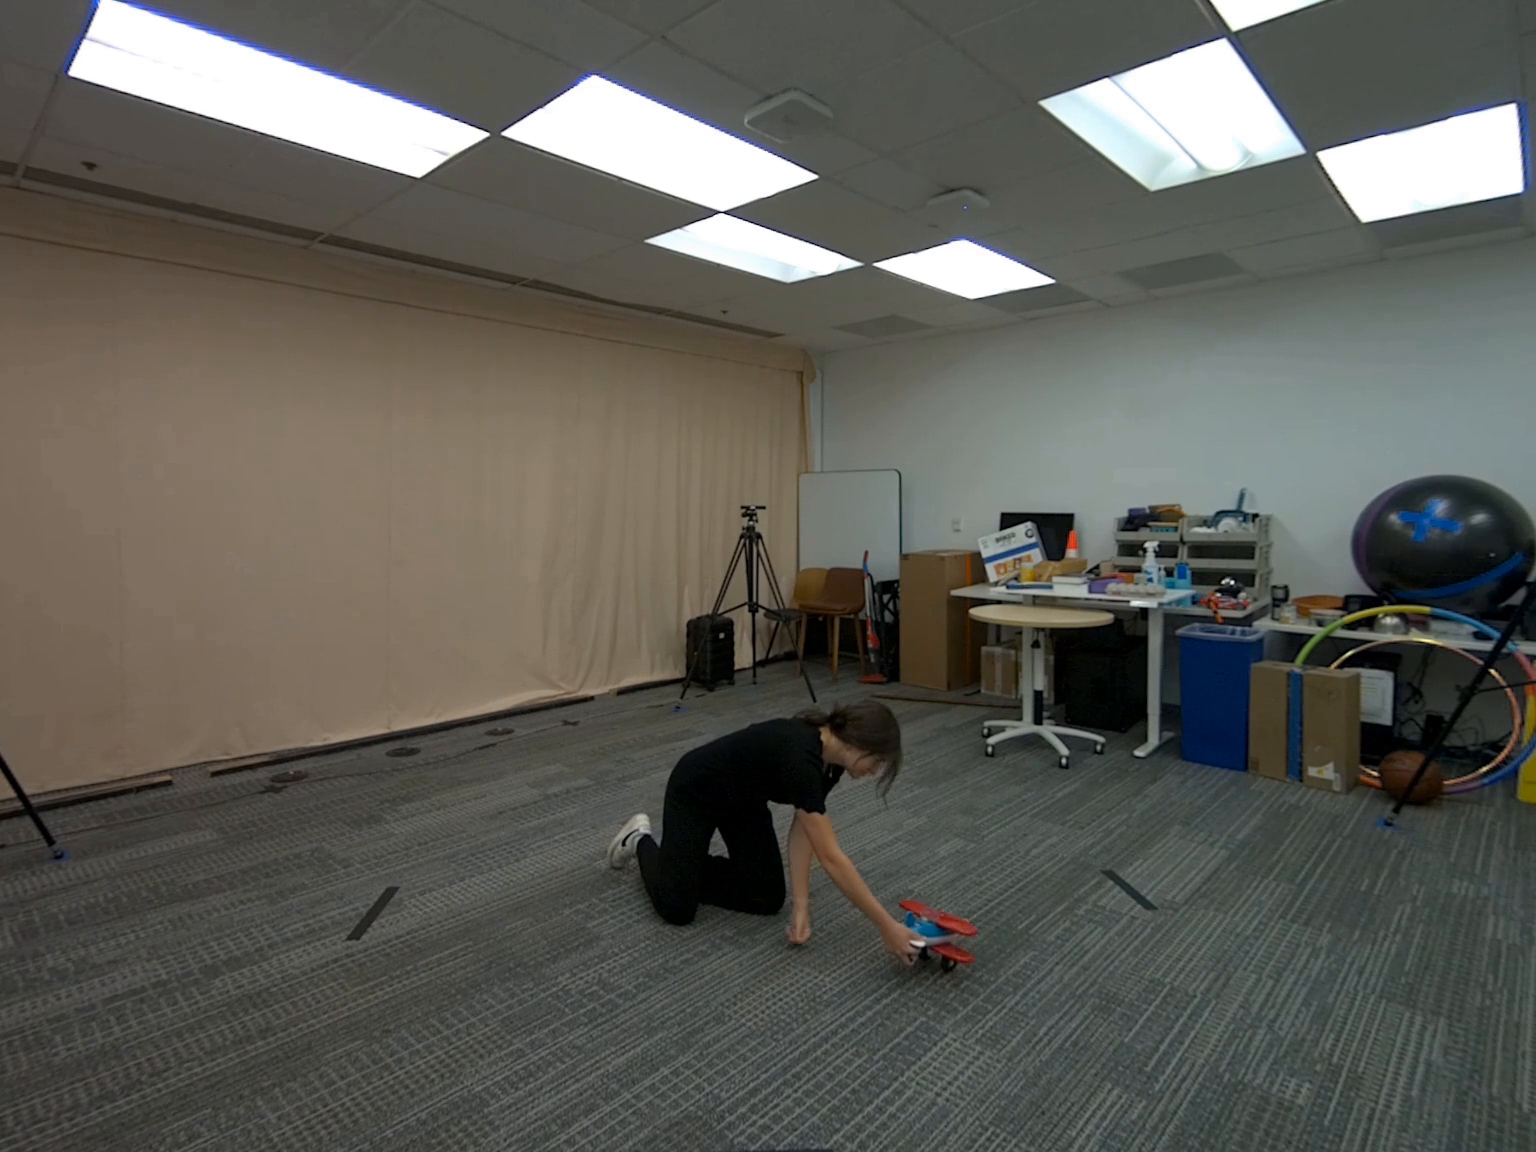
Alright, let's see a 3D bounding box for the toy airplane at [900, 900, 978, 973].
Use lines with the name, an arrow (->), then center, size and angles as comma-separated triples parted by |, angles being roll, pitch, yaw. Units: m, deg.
toy airplane -> 0.499, 1.081, 2.497 | 0.257, 0.157, 0.252 | 16, -15, 20
